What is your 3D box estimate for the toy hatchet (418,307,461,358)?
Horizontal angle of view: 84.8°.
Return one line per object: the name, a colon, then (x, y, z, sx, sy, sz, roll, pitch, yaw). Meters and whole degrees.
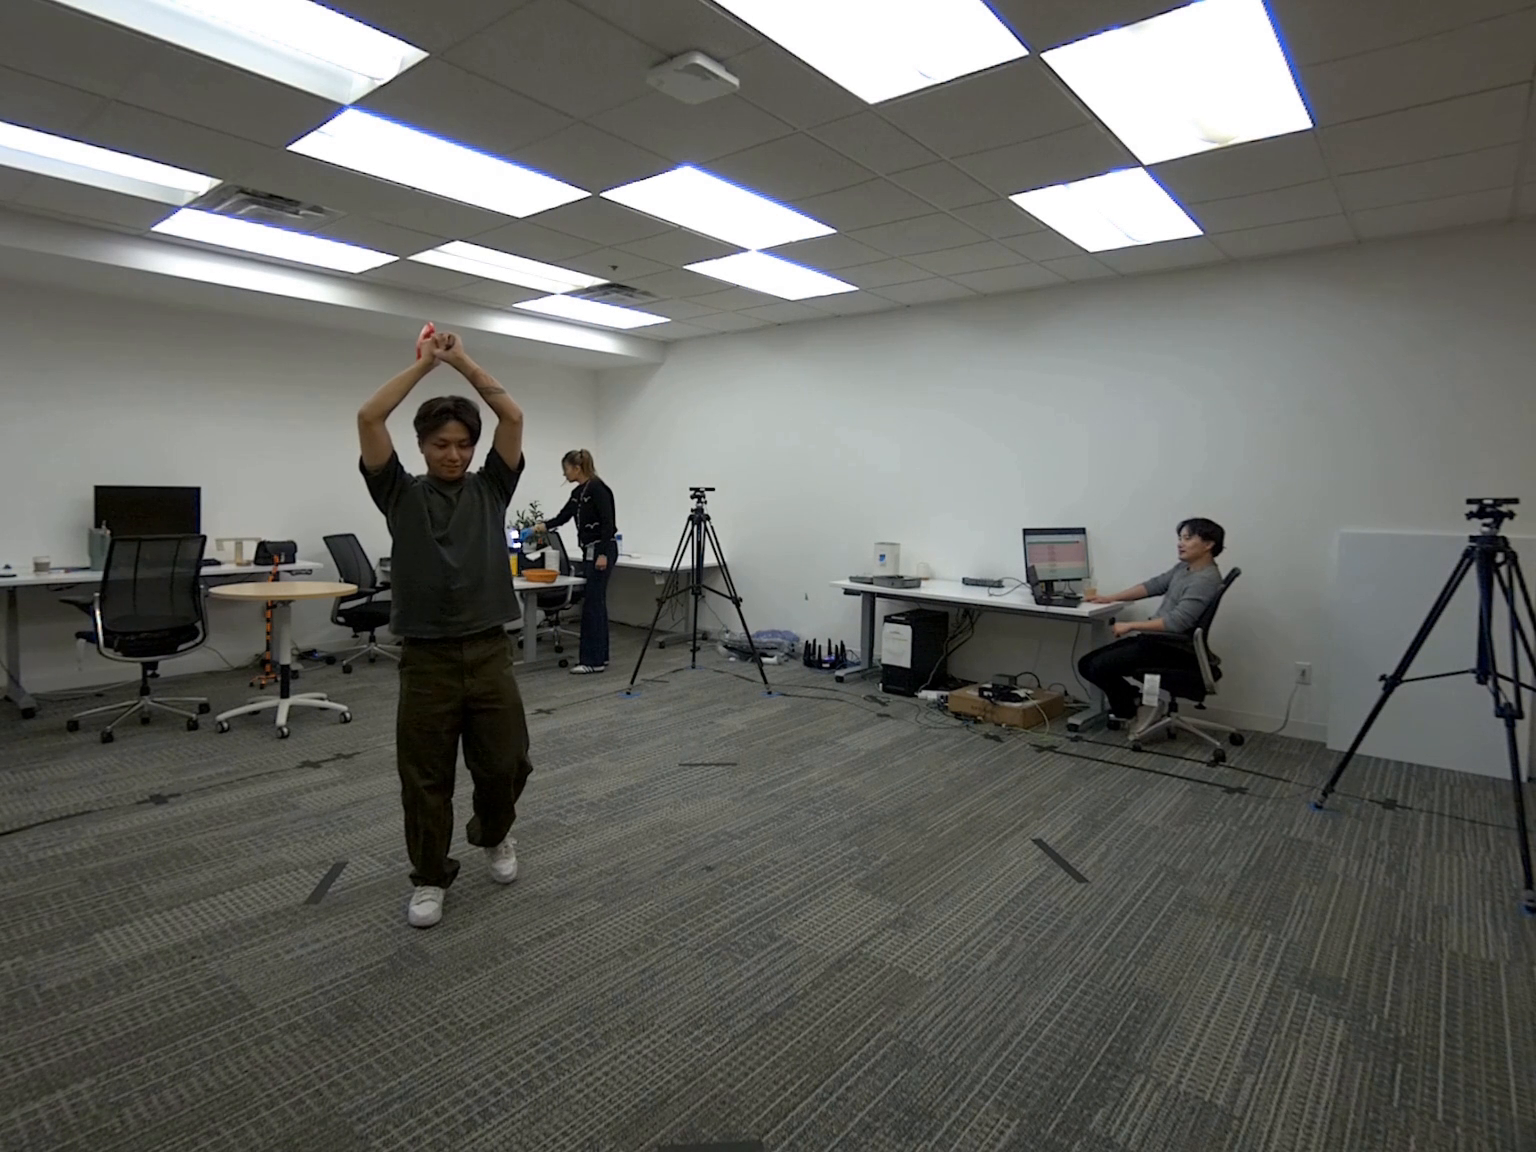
toy hatchet: (-1.060, -0.762, 2.695, 0.028, 0.132, 0.278, 18, -11, -36)
